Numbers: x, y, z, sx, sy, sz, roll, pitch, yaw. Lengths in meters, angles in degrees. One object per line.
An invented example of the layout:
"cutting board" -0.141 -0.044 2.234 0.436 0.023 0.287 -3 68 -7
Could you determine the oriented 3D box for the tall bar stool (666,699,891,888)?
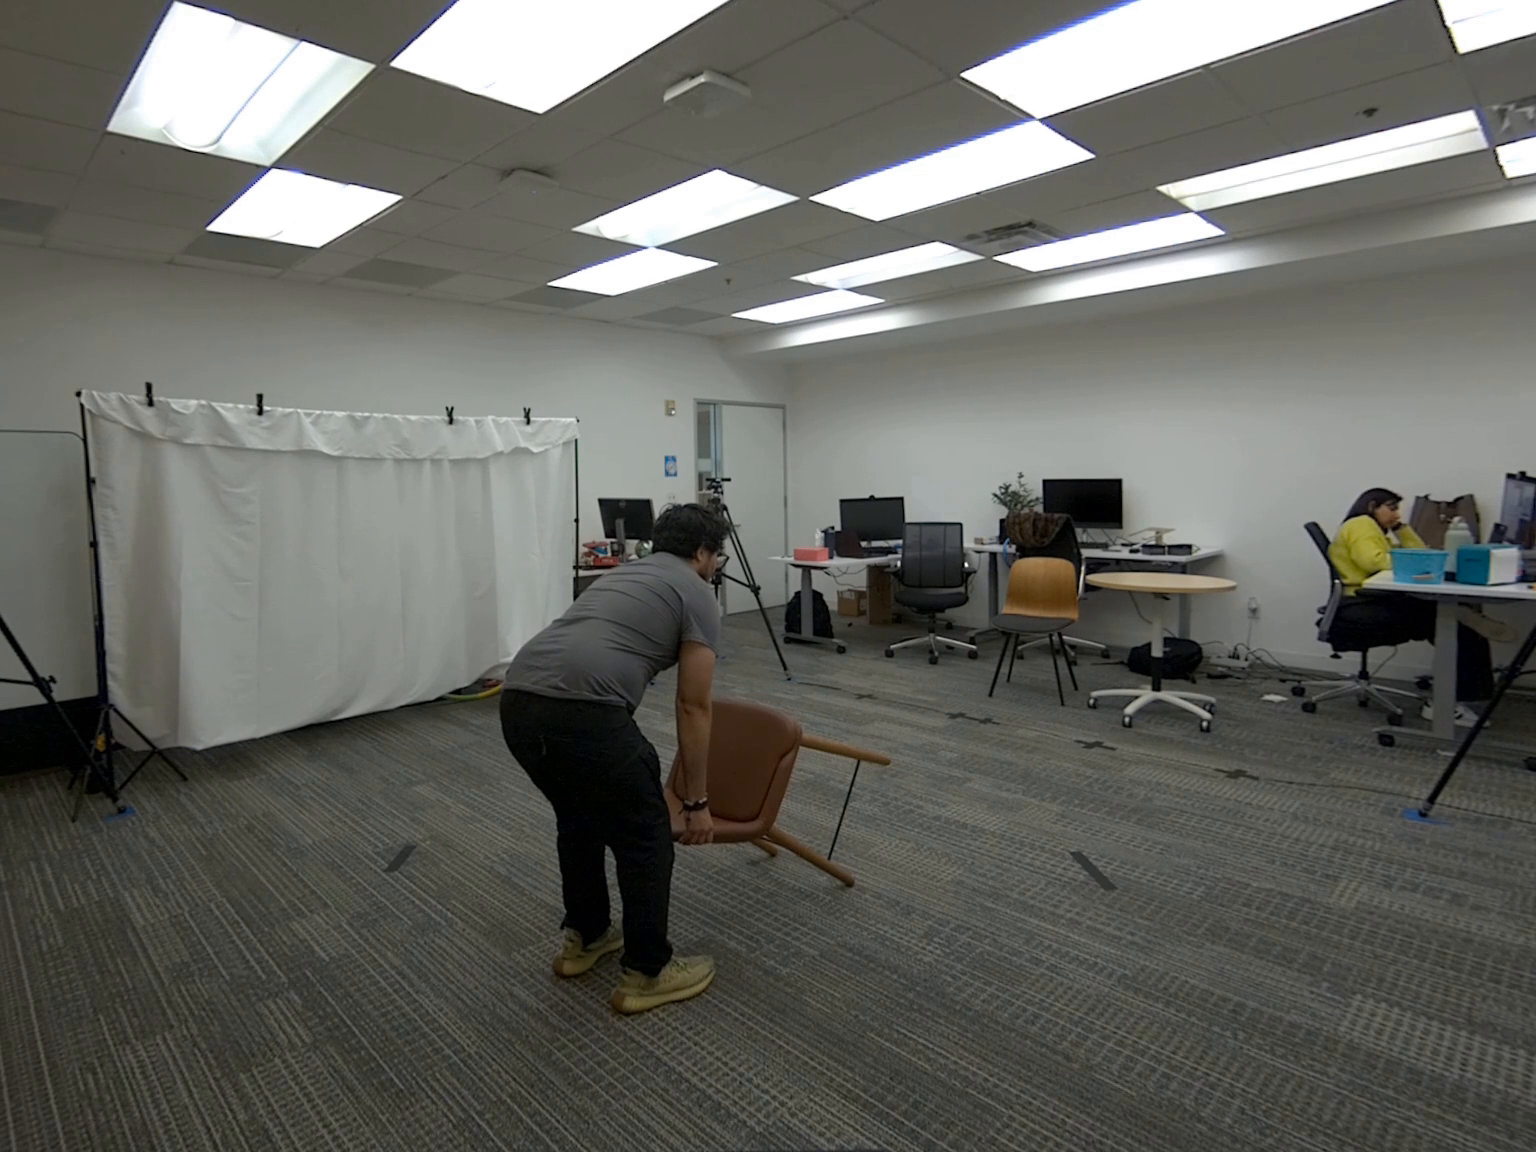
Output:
"tall bar stool" -0.040 0.679 2.822 0.470 0.471 0.856 4 -19 43
